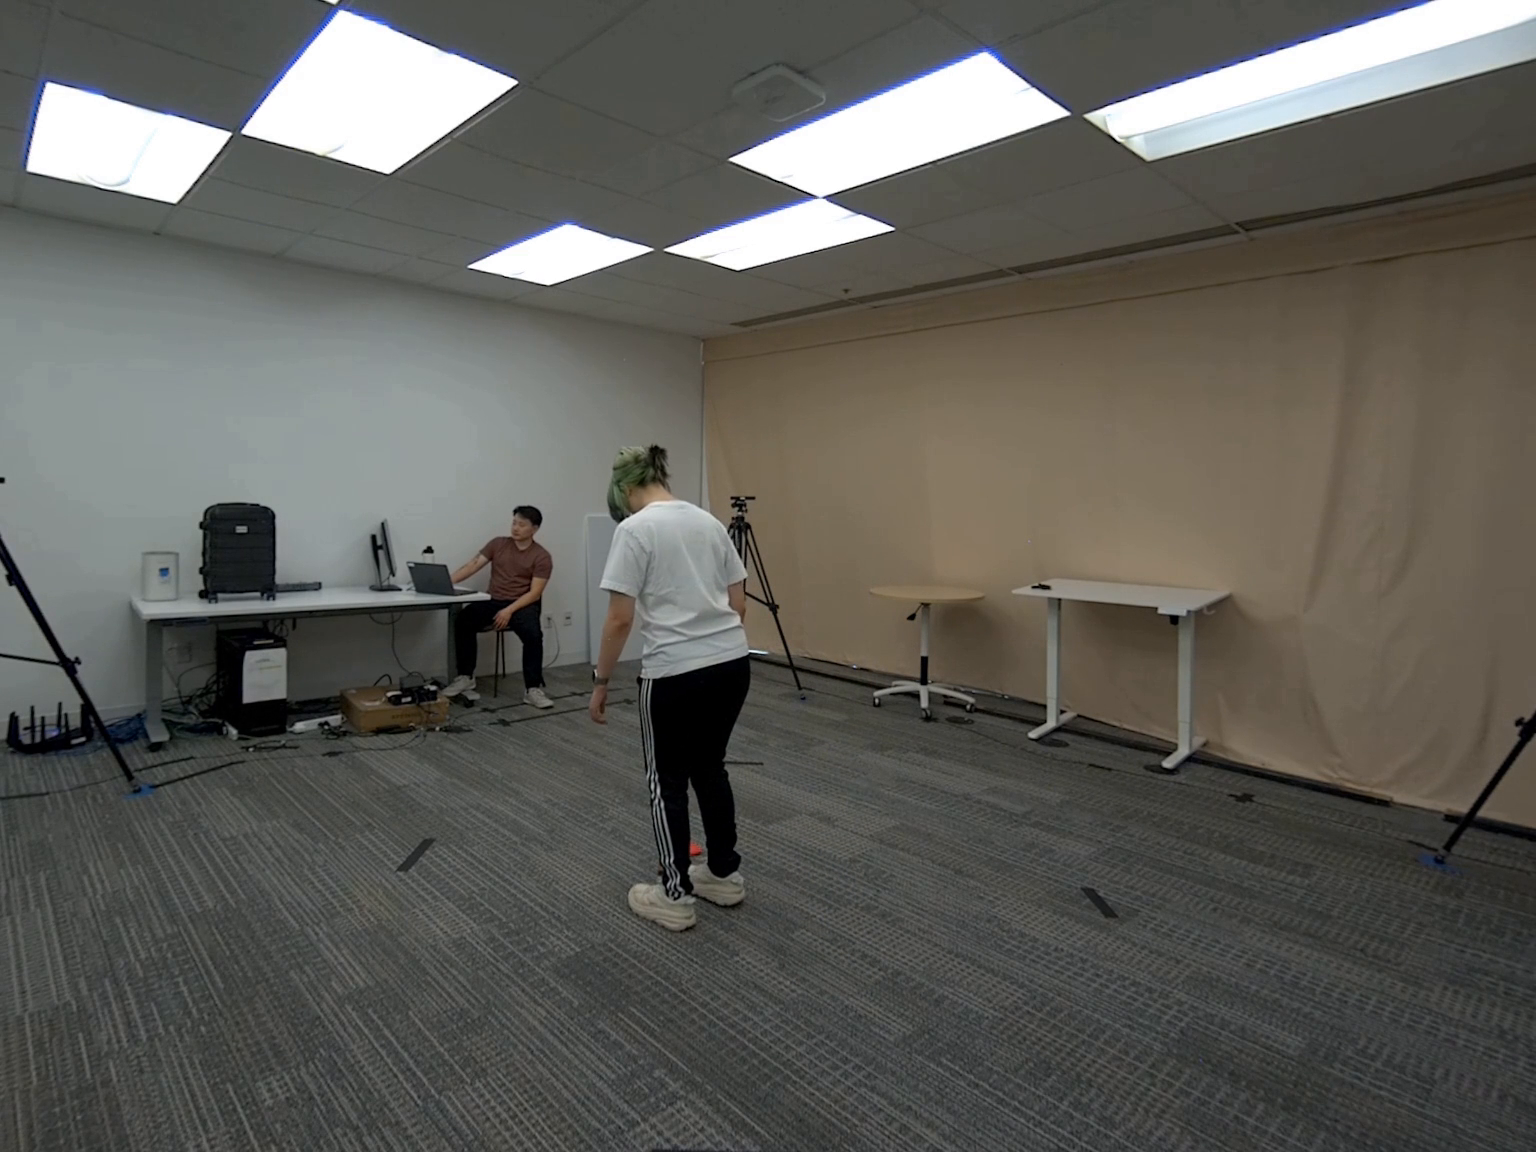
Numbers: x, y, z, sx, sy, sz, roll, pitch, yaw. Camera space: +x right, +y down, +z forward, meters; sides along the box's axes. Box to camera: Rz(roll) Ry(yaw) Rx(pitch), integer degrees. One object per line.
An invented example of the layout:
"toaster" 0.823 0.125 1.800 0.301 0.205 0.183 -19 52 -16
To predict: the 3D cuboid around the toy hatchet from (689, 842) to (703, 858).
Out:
"toy hatchet" -0.334 1.087 3.210 0.132 0.029 0.269 6 9 7
